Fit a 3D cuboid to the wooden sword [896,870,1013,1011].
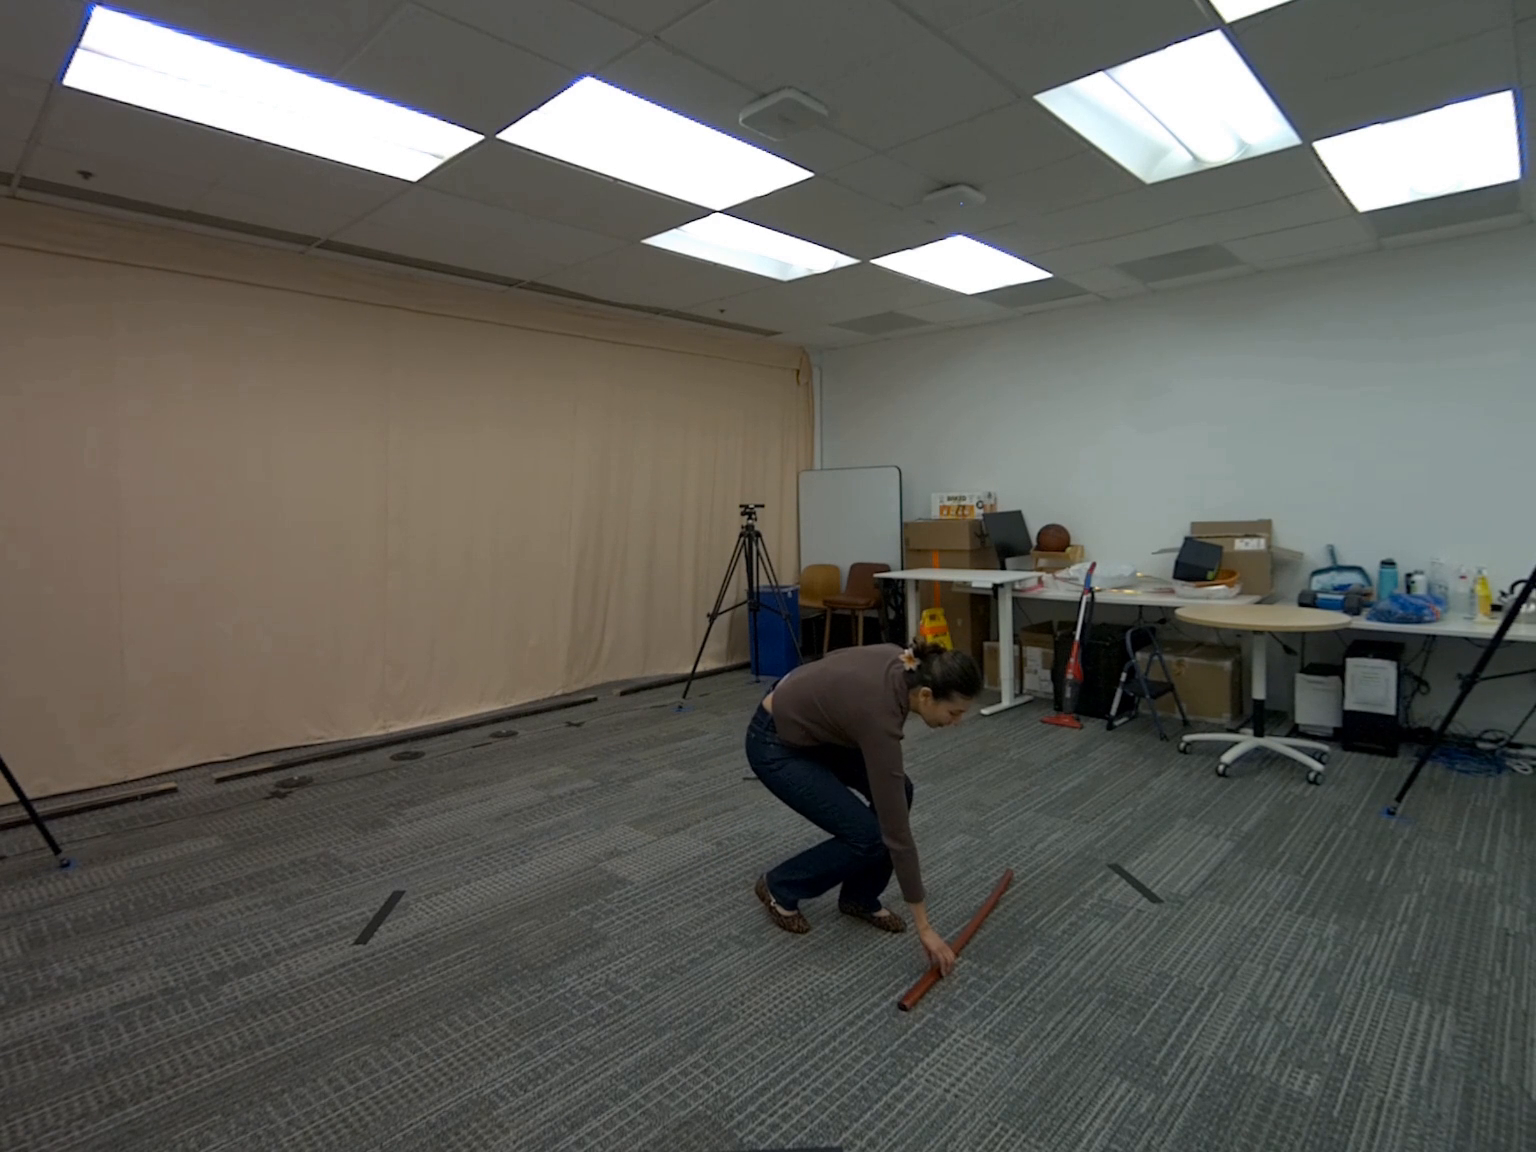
[{"bbox_3d":[0.637,1.127,2.712,0.053,0.024,0.996,17,13,30],"label":"wooden sword"}]
